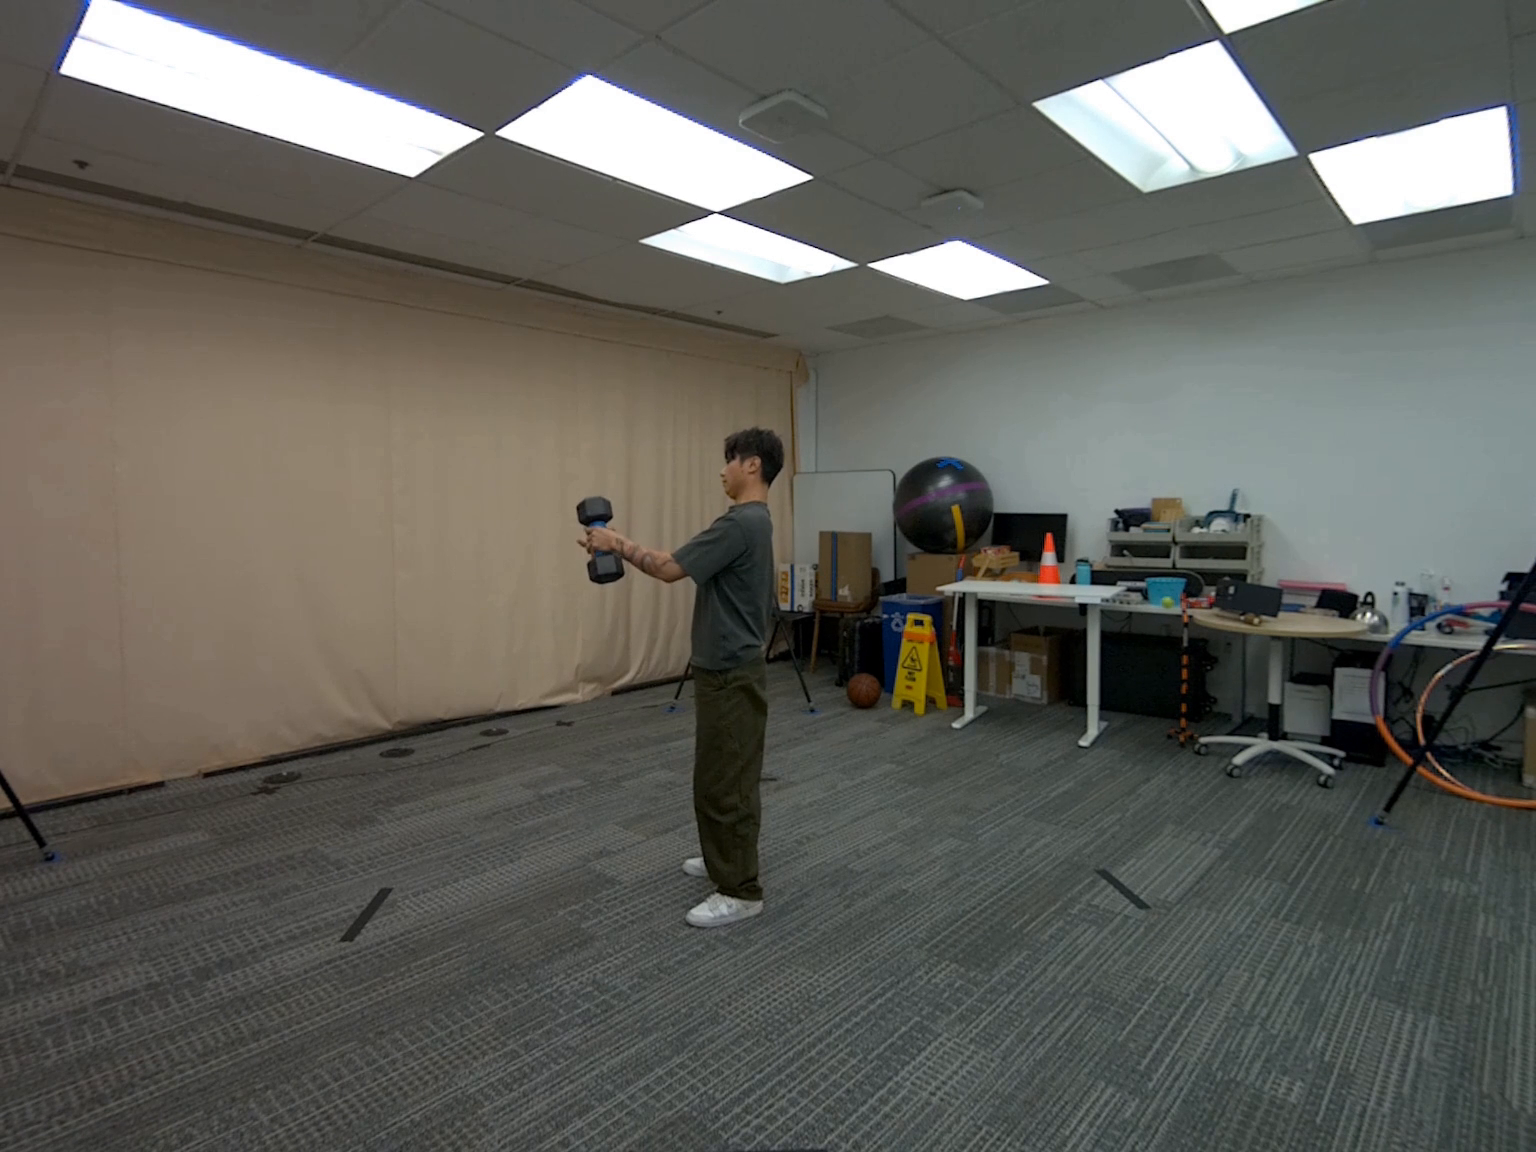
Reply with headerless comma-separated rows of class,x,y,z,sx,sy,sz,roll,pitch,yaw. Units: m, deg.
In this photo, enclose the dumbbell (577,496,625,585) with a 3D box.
dumbbell,-0.582,-0.122,2.916,0.110,0.298,0.120,-19,-17,14
